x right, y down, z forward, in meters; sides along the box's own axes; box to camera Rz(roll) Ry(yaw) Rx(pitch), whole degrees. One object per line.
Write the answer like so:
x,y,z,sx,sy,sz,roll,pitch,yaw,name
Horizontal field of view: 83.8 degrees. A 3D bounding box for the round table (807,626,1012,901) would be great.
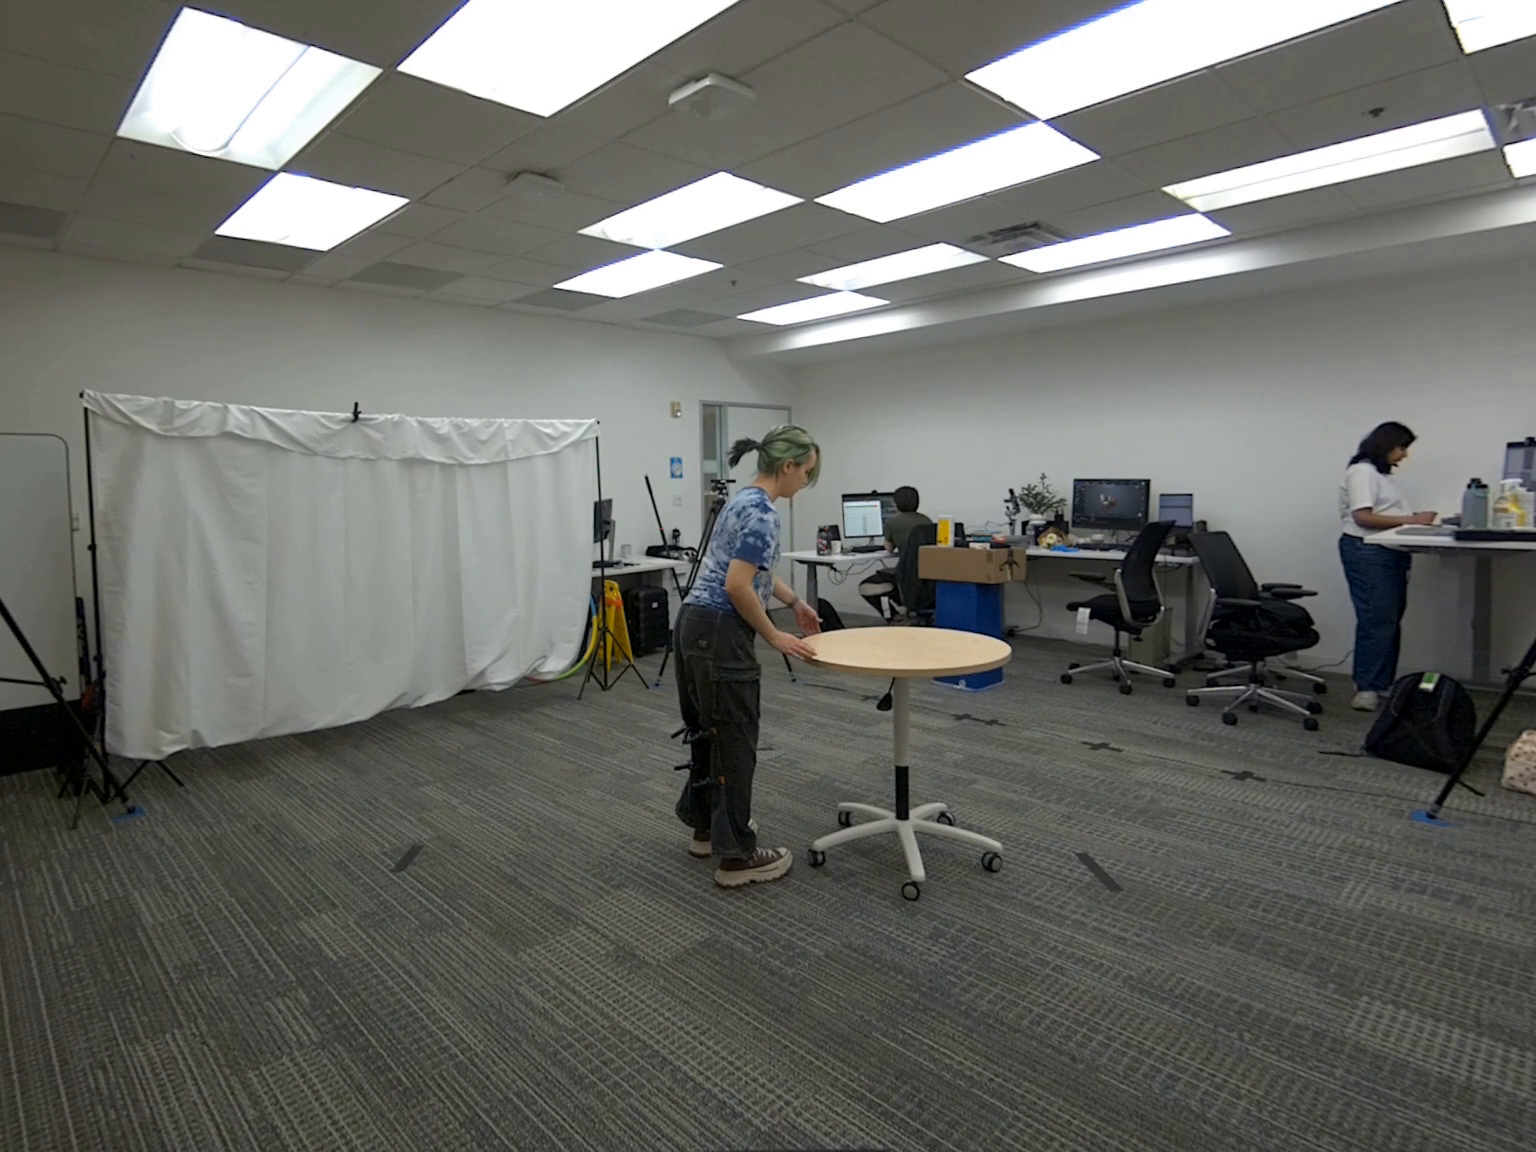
0.488,0.646,3.130,0.763,0.791,0.768,-1,5,-2,round table
